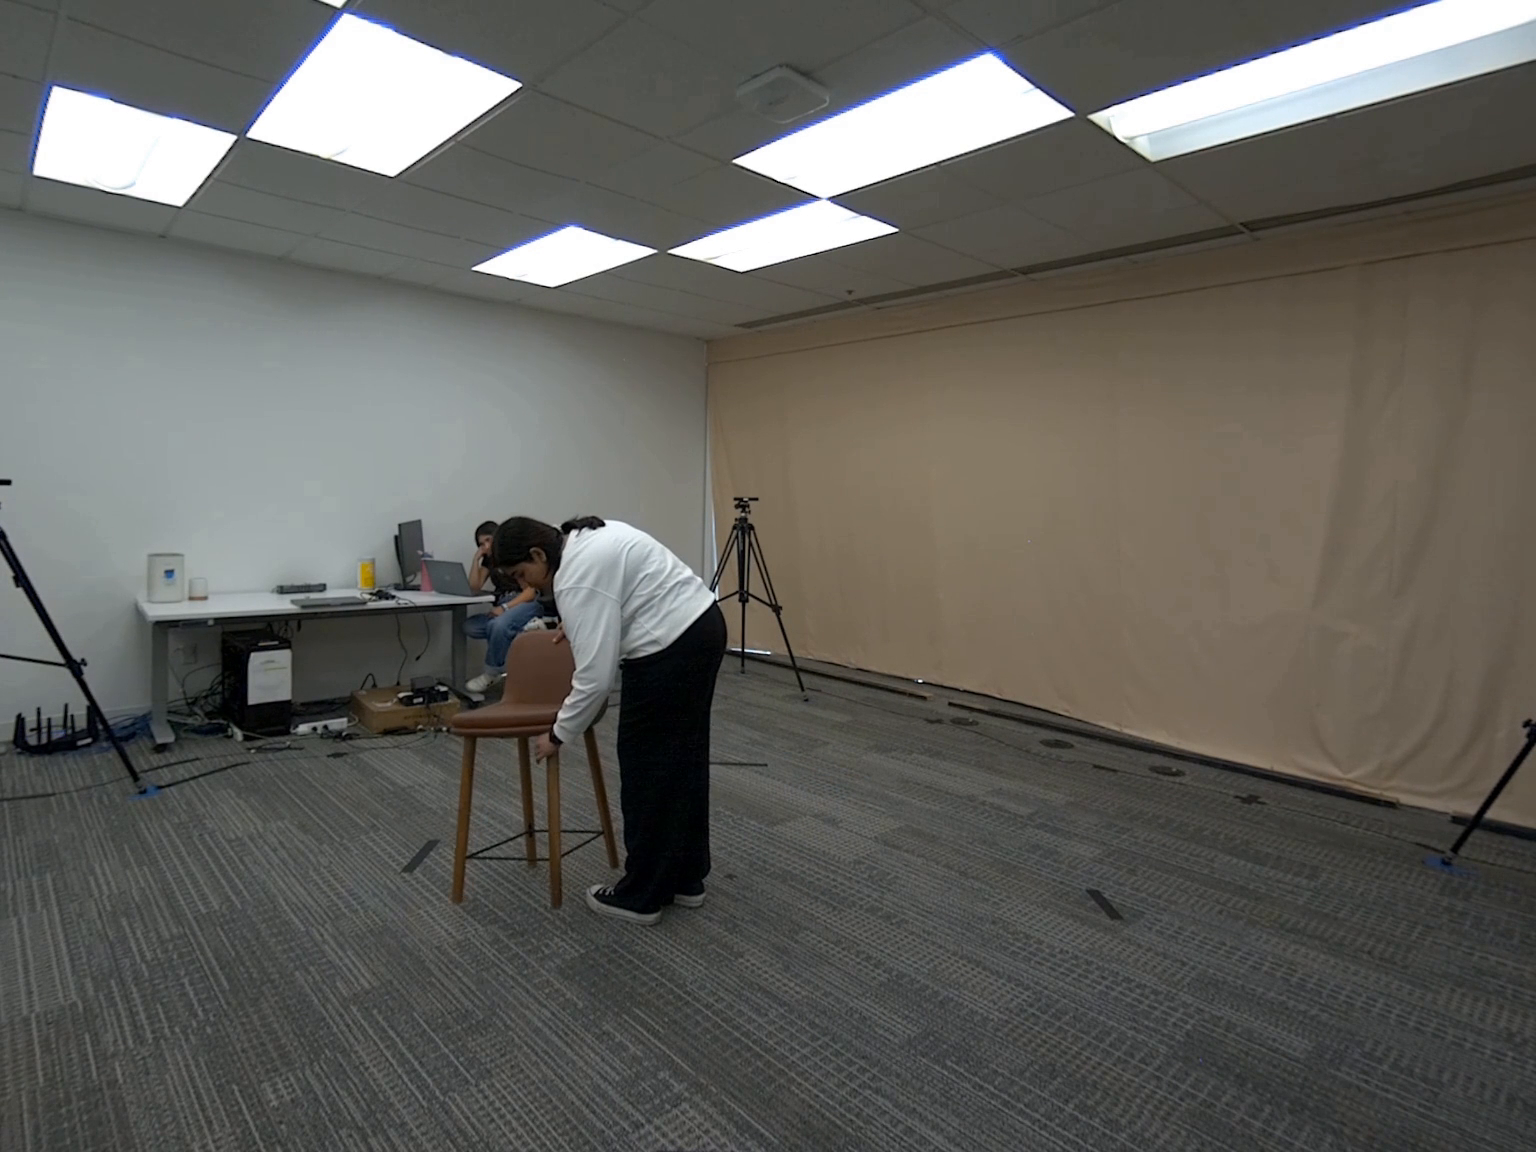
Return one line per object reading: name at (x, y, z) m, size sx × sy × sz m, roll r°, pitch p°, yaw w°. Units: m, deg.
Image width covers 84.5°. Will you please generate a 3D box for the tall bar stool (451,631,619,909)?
tall bar stool at (-0.816, 0.635, 2.938) m, size 0.462 × 0.894 × 0.459 m, roll -6°, pitch -7°, yaw 19°
